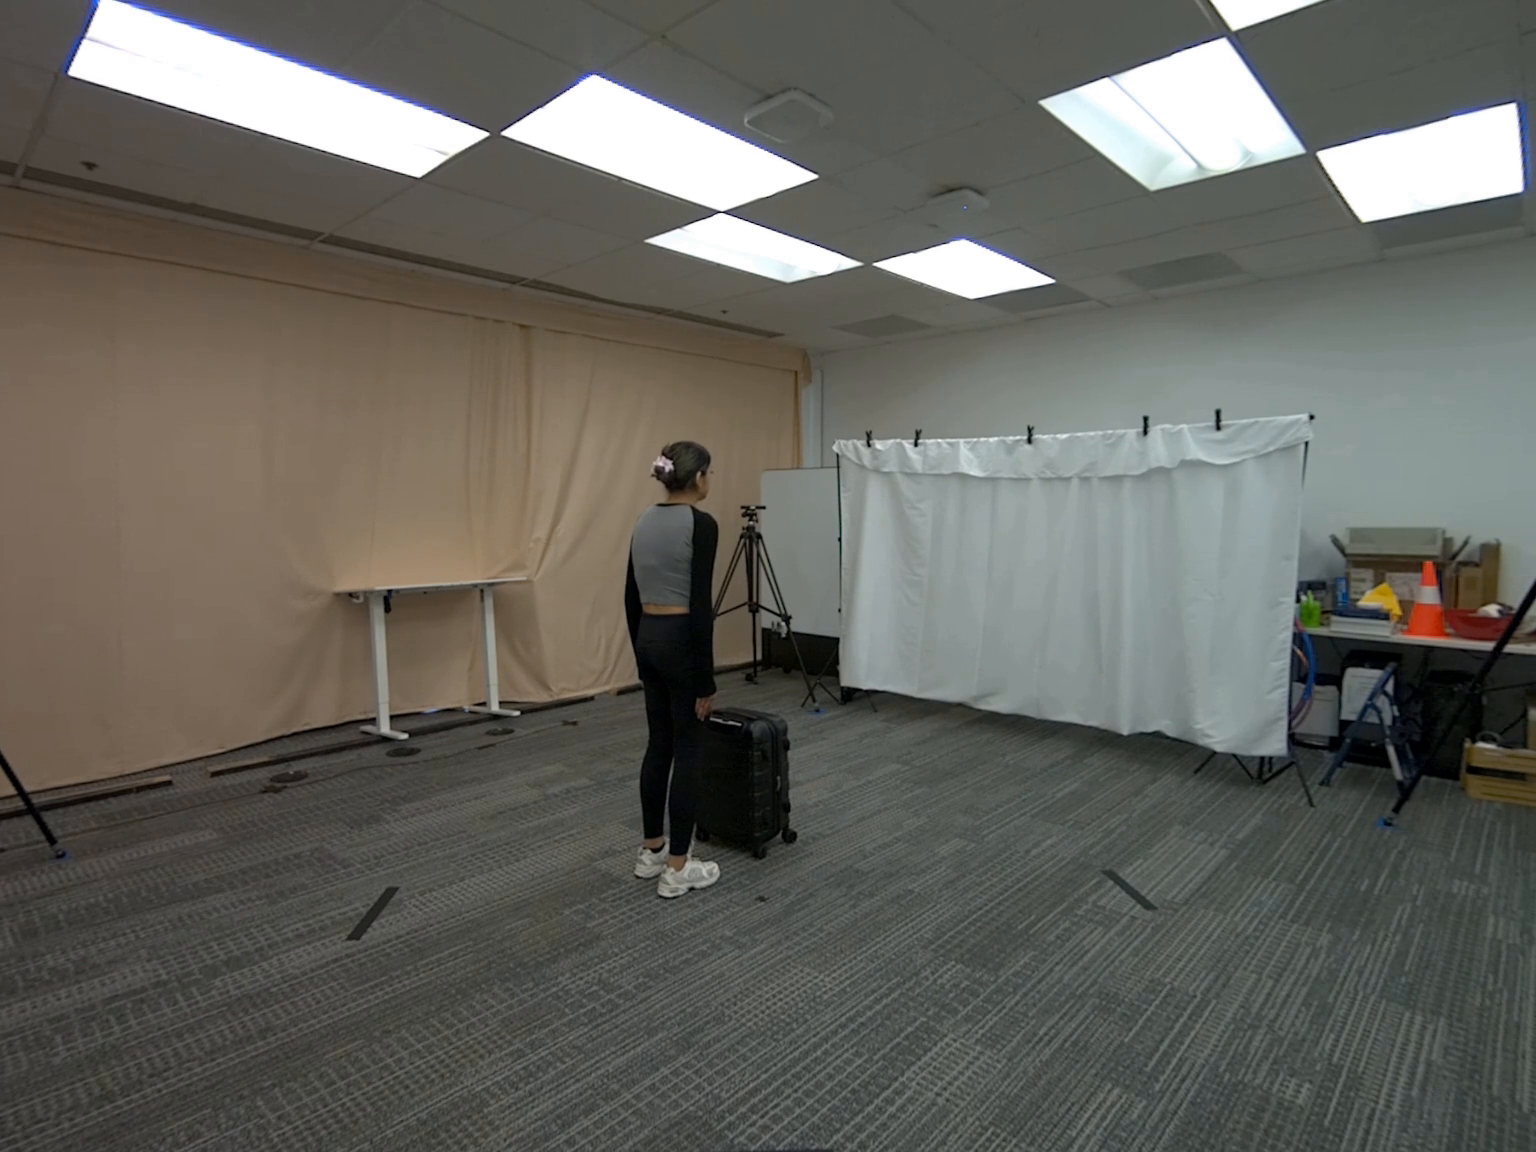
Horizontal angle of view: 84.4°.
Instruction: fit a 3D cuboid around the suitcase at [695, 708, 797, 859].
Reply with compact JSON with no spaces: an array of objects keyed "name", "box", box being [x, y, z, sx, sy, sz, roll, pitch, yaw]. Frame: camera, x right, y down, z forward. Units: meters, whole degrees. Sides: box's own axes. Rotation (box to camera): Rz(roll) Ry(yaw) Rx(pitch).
[{"name":"suitcase","box":[-0.105,0.825,3.477,0.387,0.548,0.241,2,5,38]}]
